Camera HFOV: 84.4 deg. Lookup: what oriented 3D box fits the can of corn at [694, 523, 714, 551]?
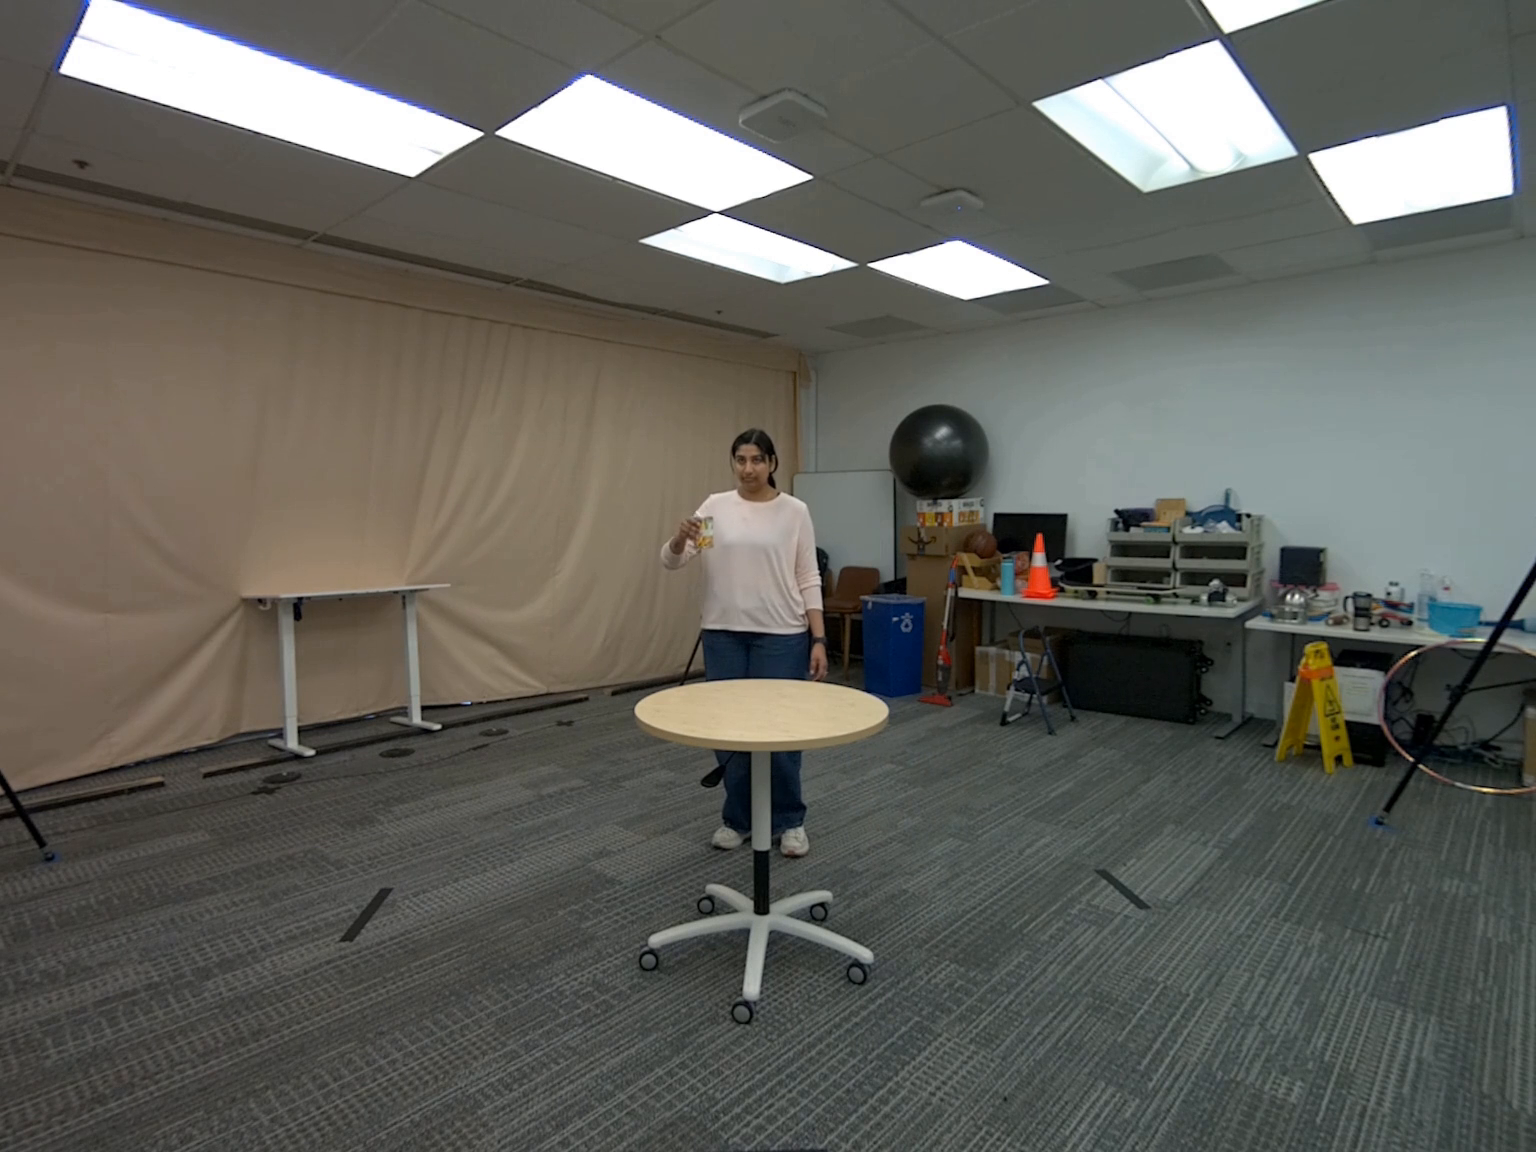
[{"bbox_3d":[-0.227,-0.108,3.135,0.074,0.111,0.074,2,3,-2],"label":"can of corn"}]
